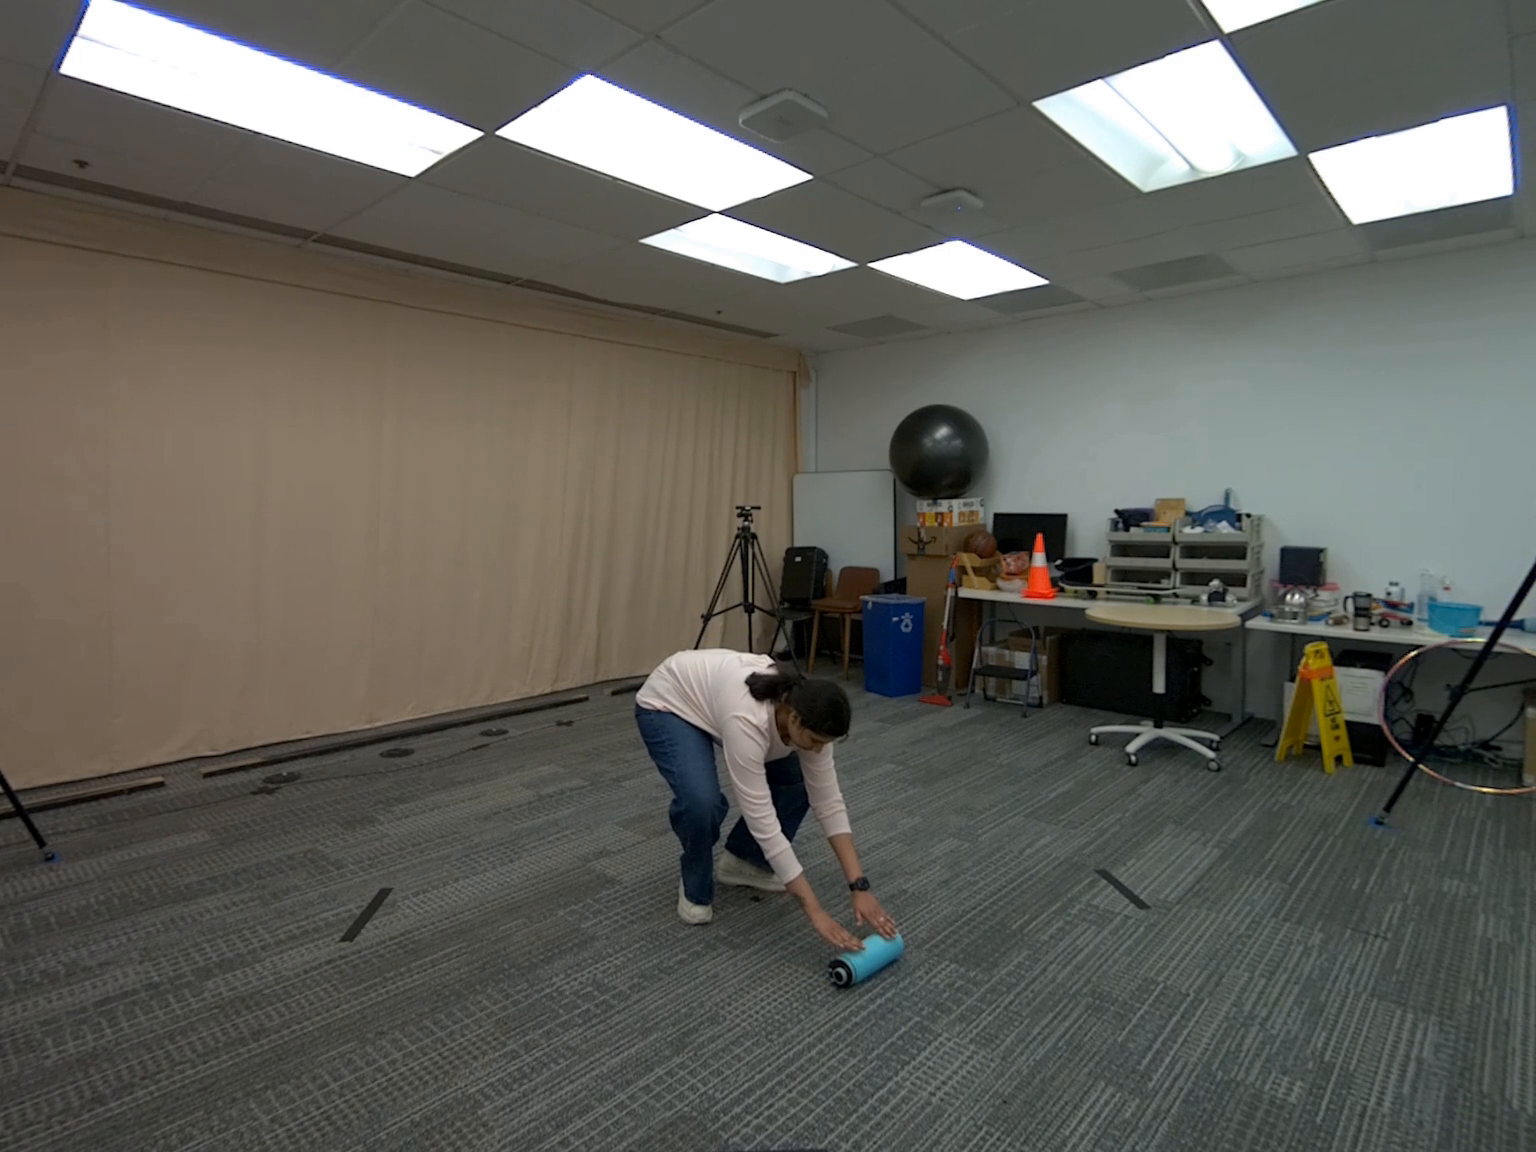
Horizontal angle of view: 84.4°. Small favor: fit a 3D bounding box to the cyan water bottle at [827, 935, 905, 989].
[{"bbox_3d":[0.292,1.137,2.509,0.275,0.092,0.095,-8,8,-44],"label":"cyan water bottle"}]
